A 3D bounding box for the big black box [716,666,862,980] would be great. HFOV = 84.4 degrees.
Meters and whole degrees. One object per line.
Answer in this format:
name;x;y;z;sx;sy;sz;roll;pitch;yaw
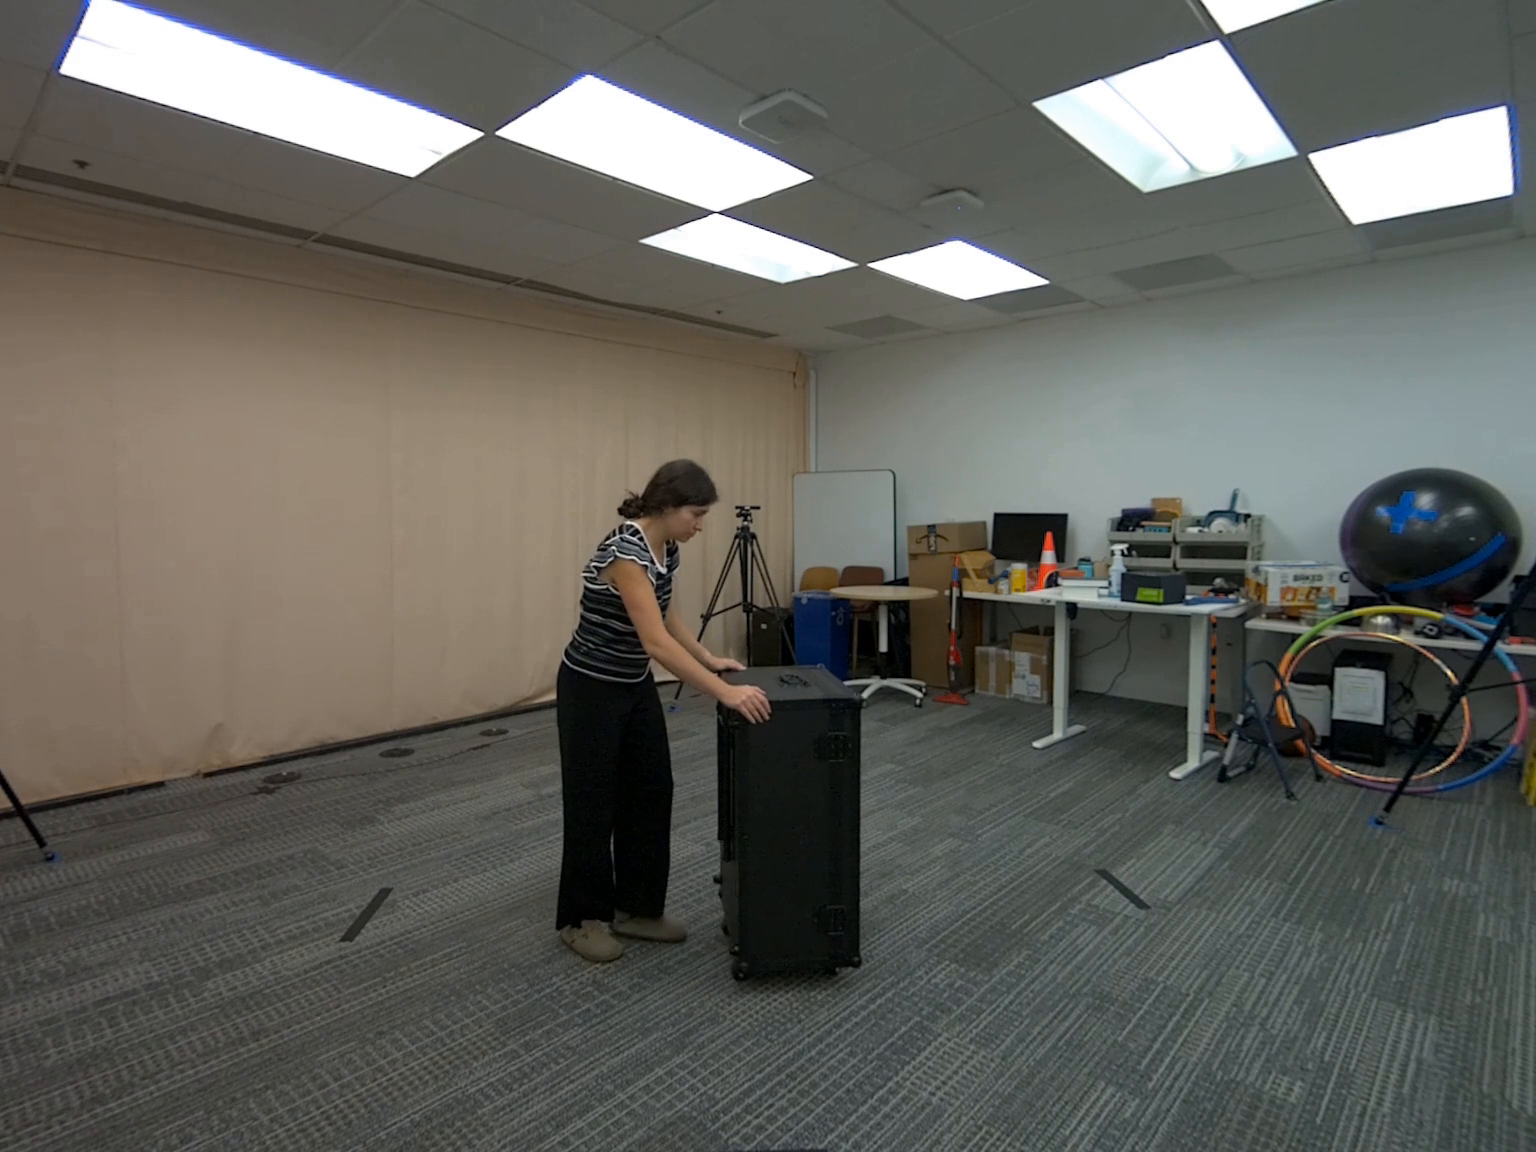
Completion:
big black box;0.045;0.750;2.609;0.393;0.859;0.526;-1;4;-8
